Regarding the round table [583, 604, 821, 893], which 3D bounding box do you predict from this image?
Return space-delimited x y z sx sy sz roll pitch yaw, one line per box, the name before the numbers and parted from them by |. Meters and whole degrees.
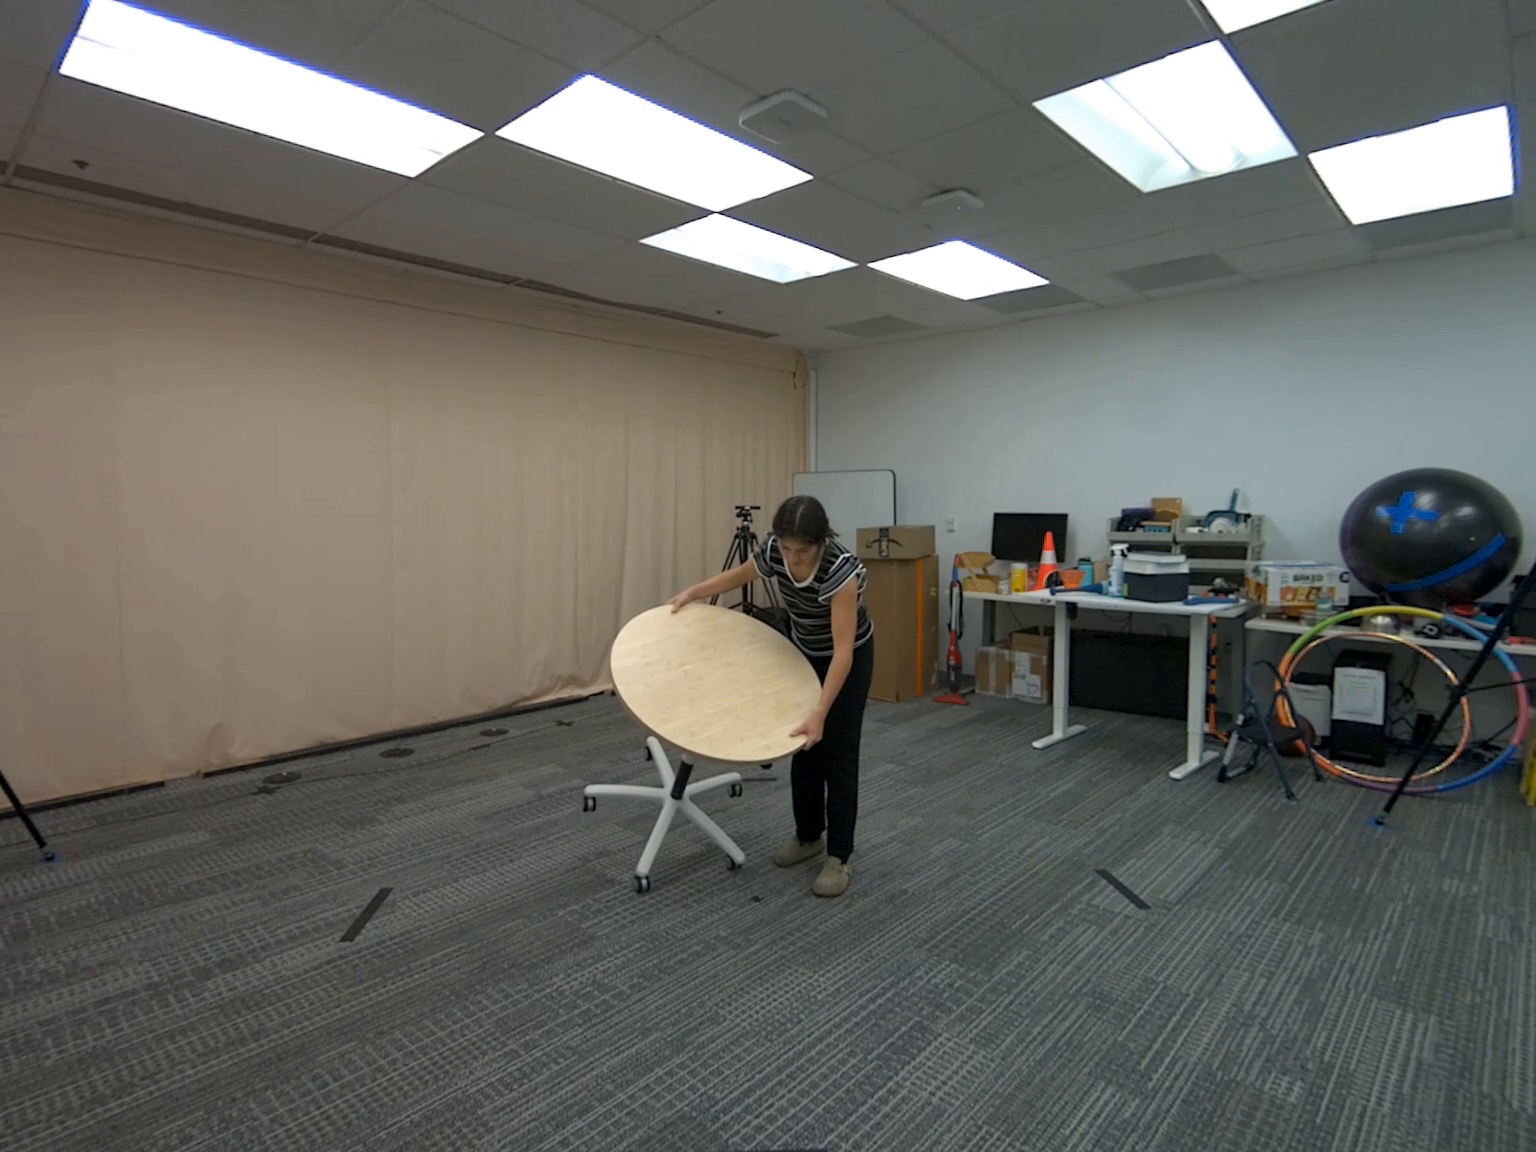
round table | -0.288 0.656 3.146 0.756 0.788 0.778 12 33 -10
